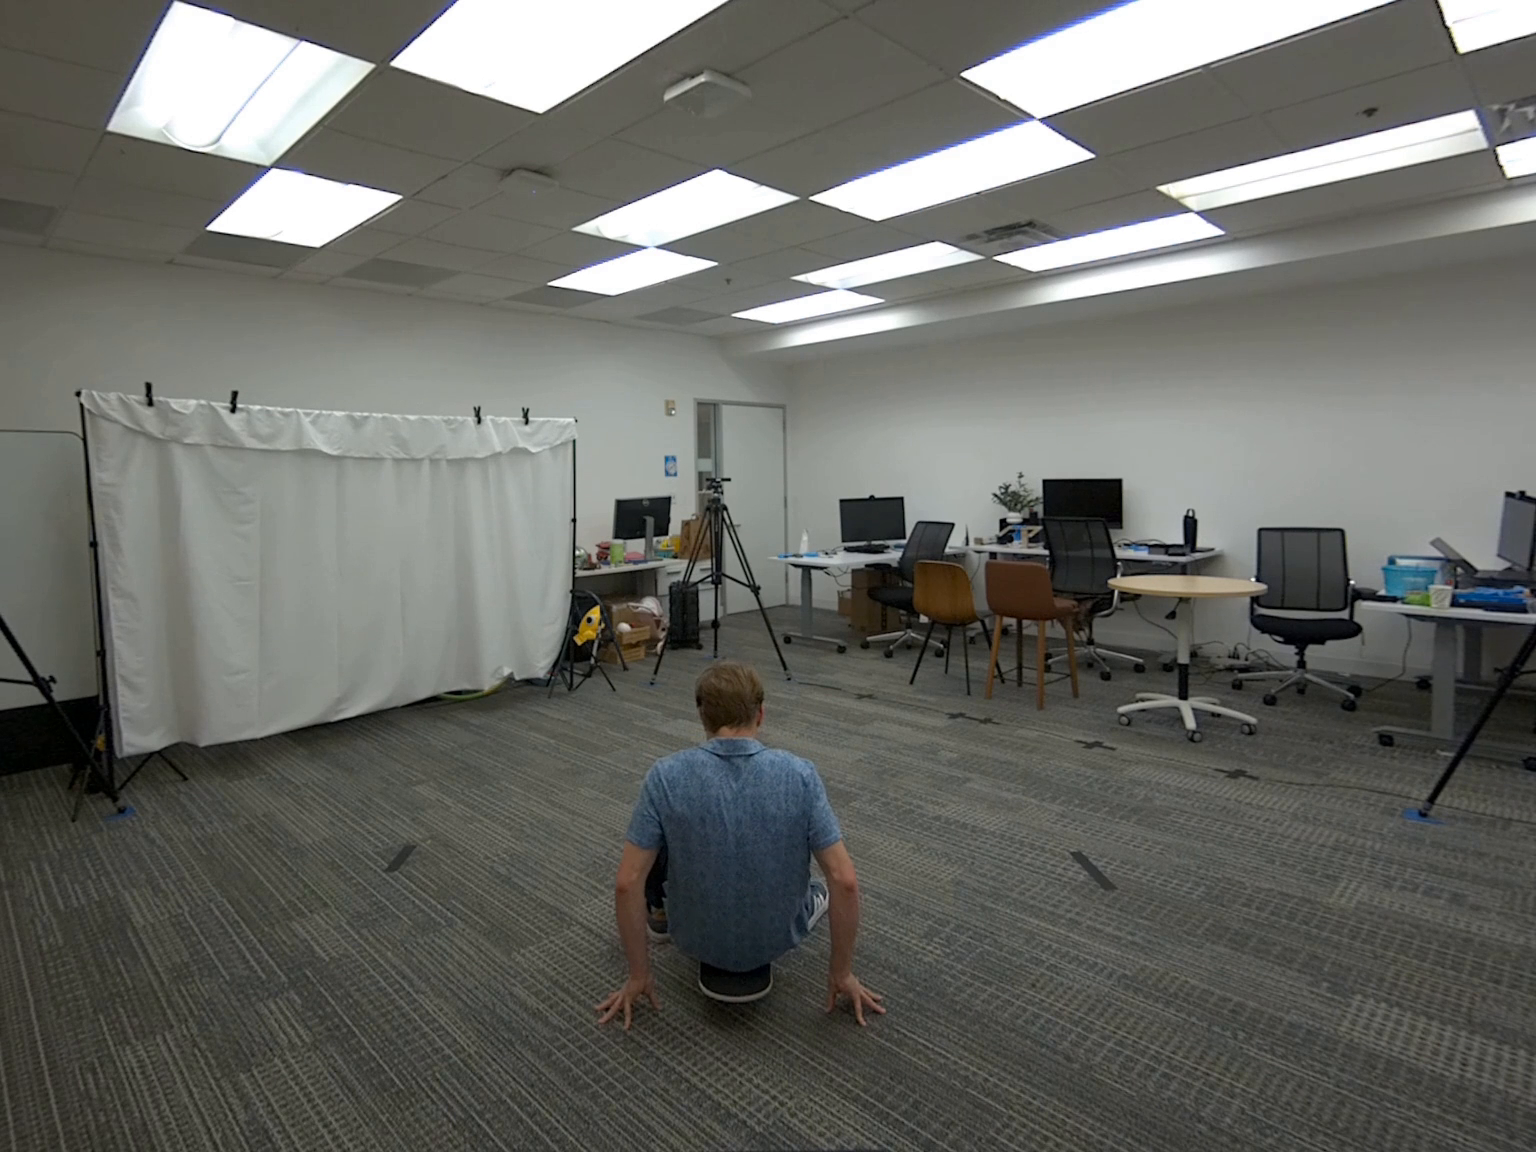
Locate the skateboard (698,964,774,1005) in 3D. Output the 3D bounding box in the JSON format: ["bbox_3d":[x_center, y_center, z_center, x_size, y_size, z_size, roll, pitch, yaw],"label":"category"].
[{"bbox_3d":[-0.092,1.059,2.527,0.193,0.109,0.792,-2,8,-3],"label":"skateboard"}]
